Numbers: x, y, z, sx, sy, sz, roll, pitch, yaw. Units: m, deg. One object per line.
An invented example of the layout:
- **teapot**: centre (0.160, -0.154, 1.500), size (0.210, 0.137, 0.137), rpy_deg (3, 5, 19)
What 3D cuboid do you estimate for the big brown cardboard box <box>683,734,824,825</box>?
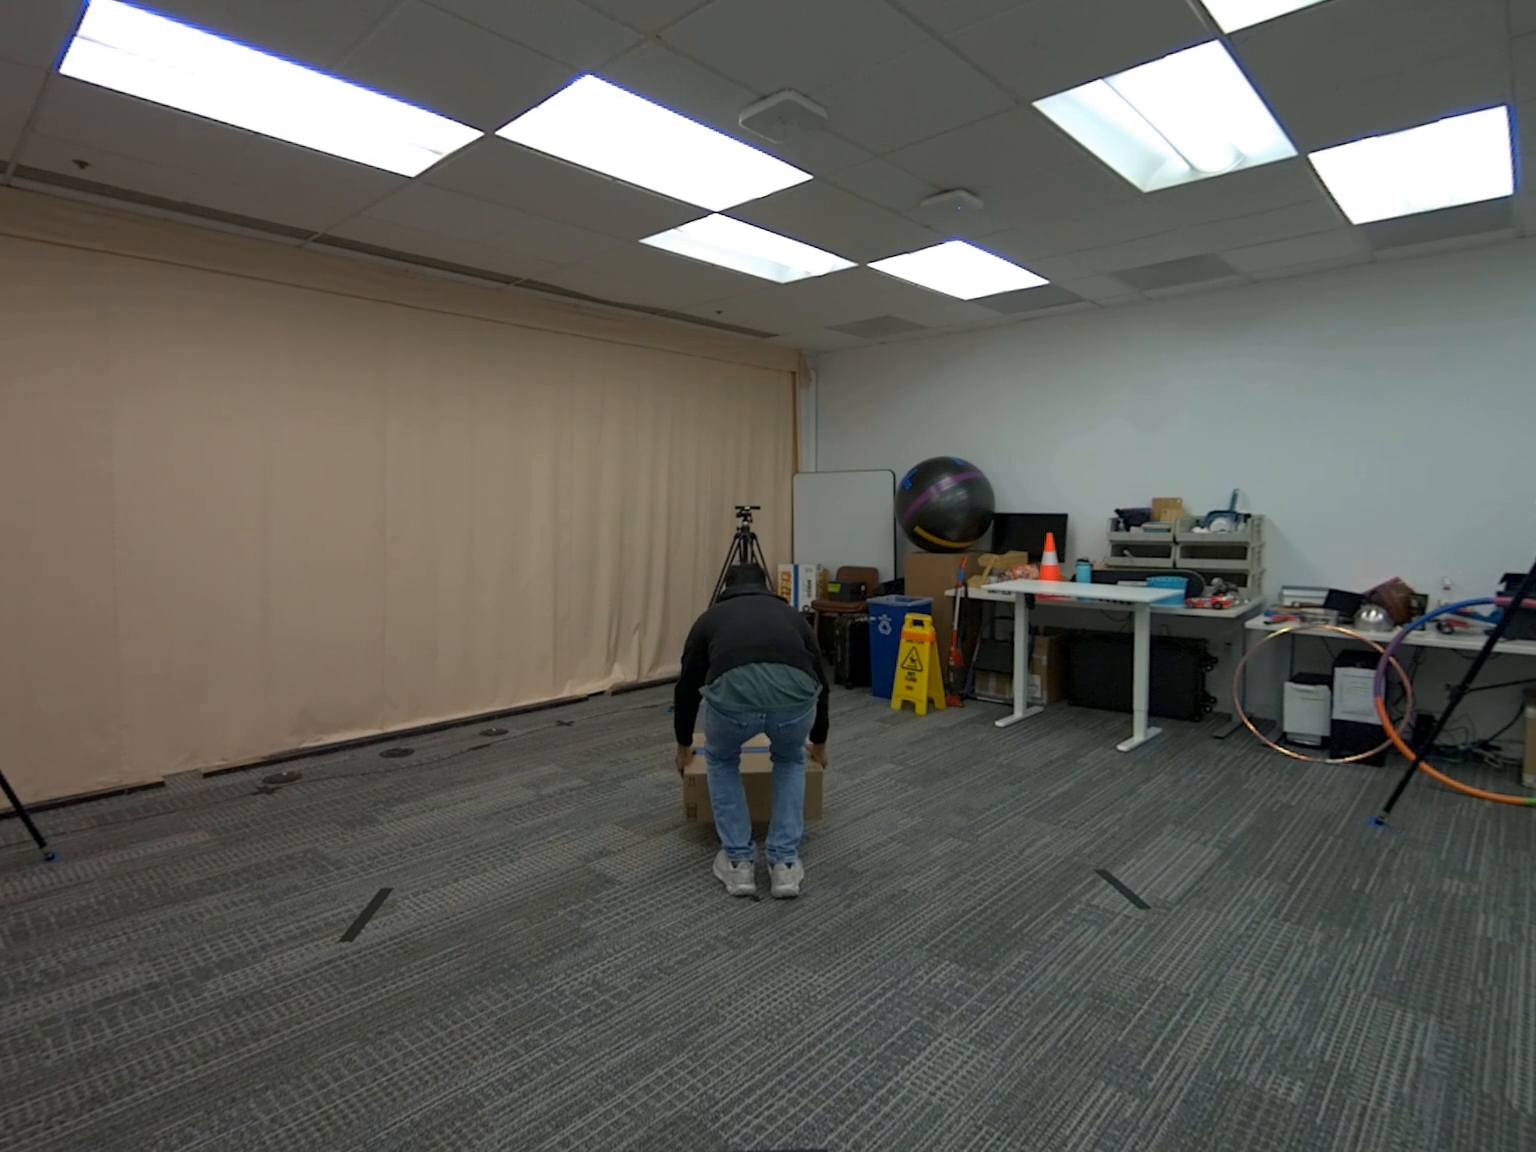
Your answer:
- **big brown cardboard box**: centre (-0.074, 0.842, 3.603), size (0.586, 0.231, 0.423), rpy_deg (-1, 11, -6)
